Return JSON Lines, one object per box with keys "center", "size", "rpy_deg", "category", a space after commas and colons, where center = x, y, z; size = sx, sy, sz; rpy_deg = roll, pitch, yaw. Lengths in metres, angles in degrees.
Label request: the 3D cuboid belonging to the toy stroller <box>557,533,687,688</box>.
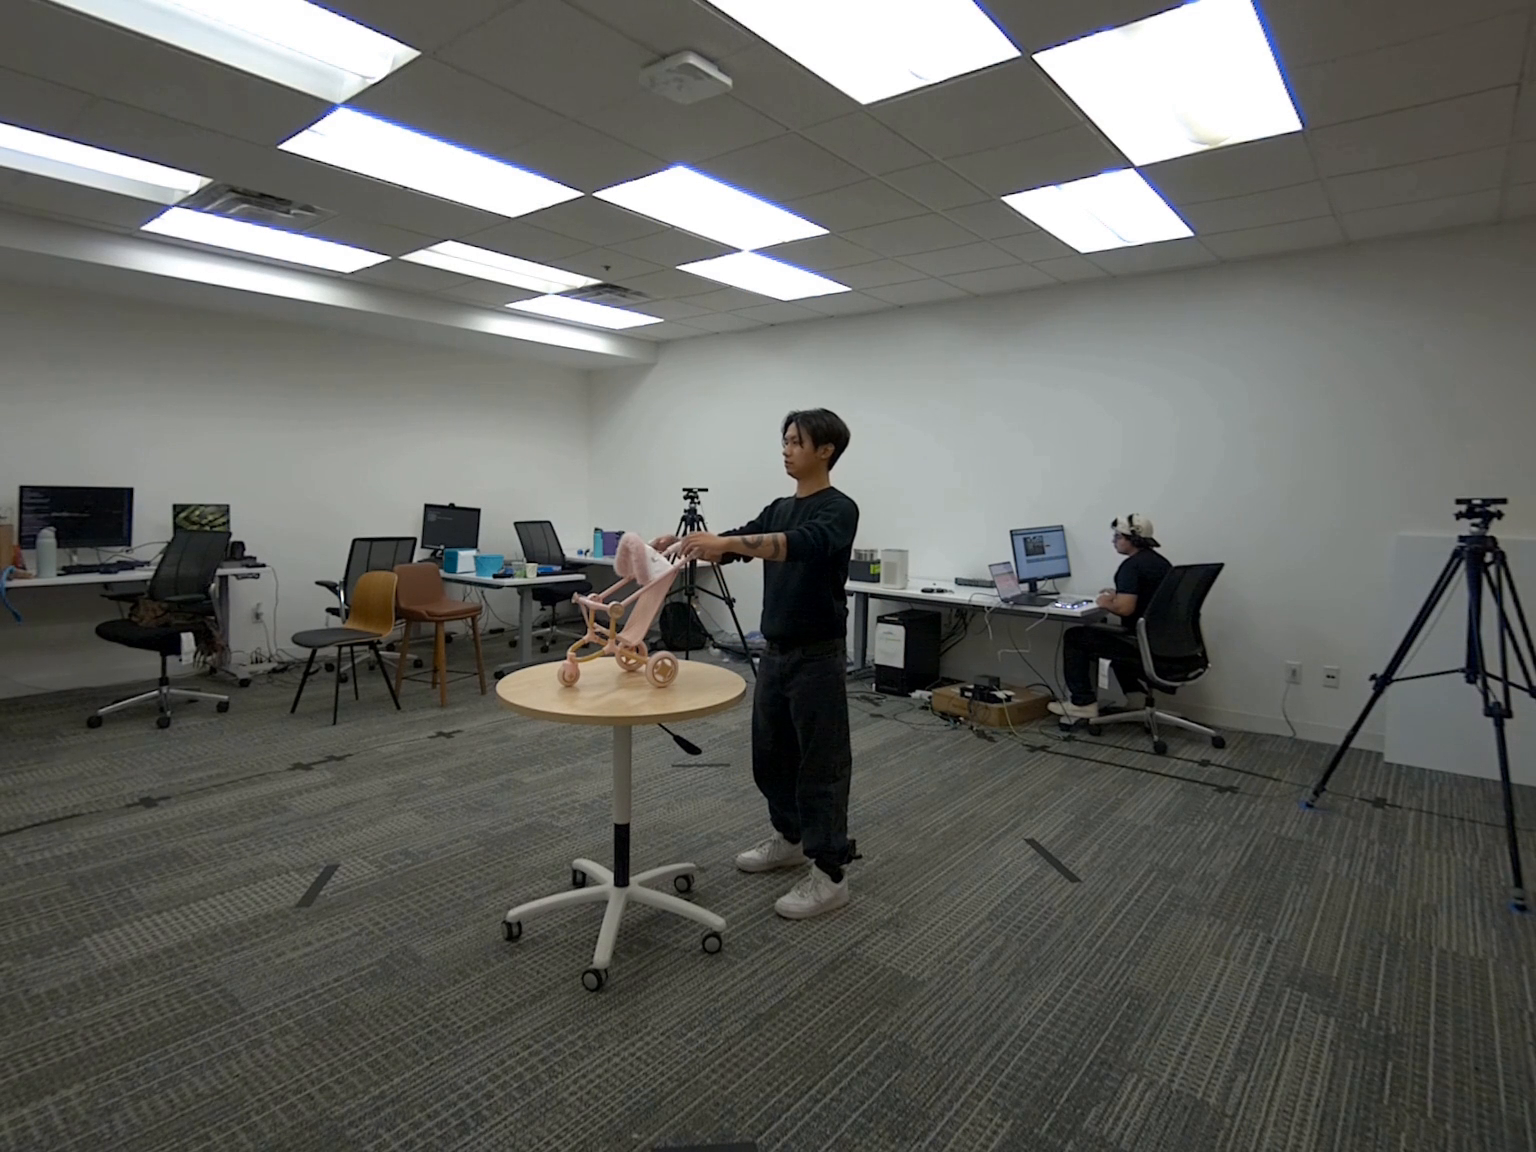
{"center": [-0.451, 0.104, 2.653], "size": [0.332, 0.536, 0.289], "rpy_deg": [15, -2, -25], "category": "toy stroller"}
